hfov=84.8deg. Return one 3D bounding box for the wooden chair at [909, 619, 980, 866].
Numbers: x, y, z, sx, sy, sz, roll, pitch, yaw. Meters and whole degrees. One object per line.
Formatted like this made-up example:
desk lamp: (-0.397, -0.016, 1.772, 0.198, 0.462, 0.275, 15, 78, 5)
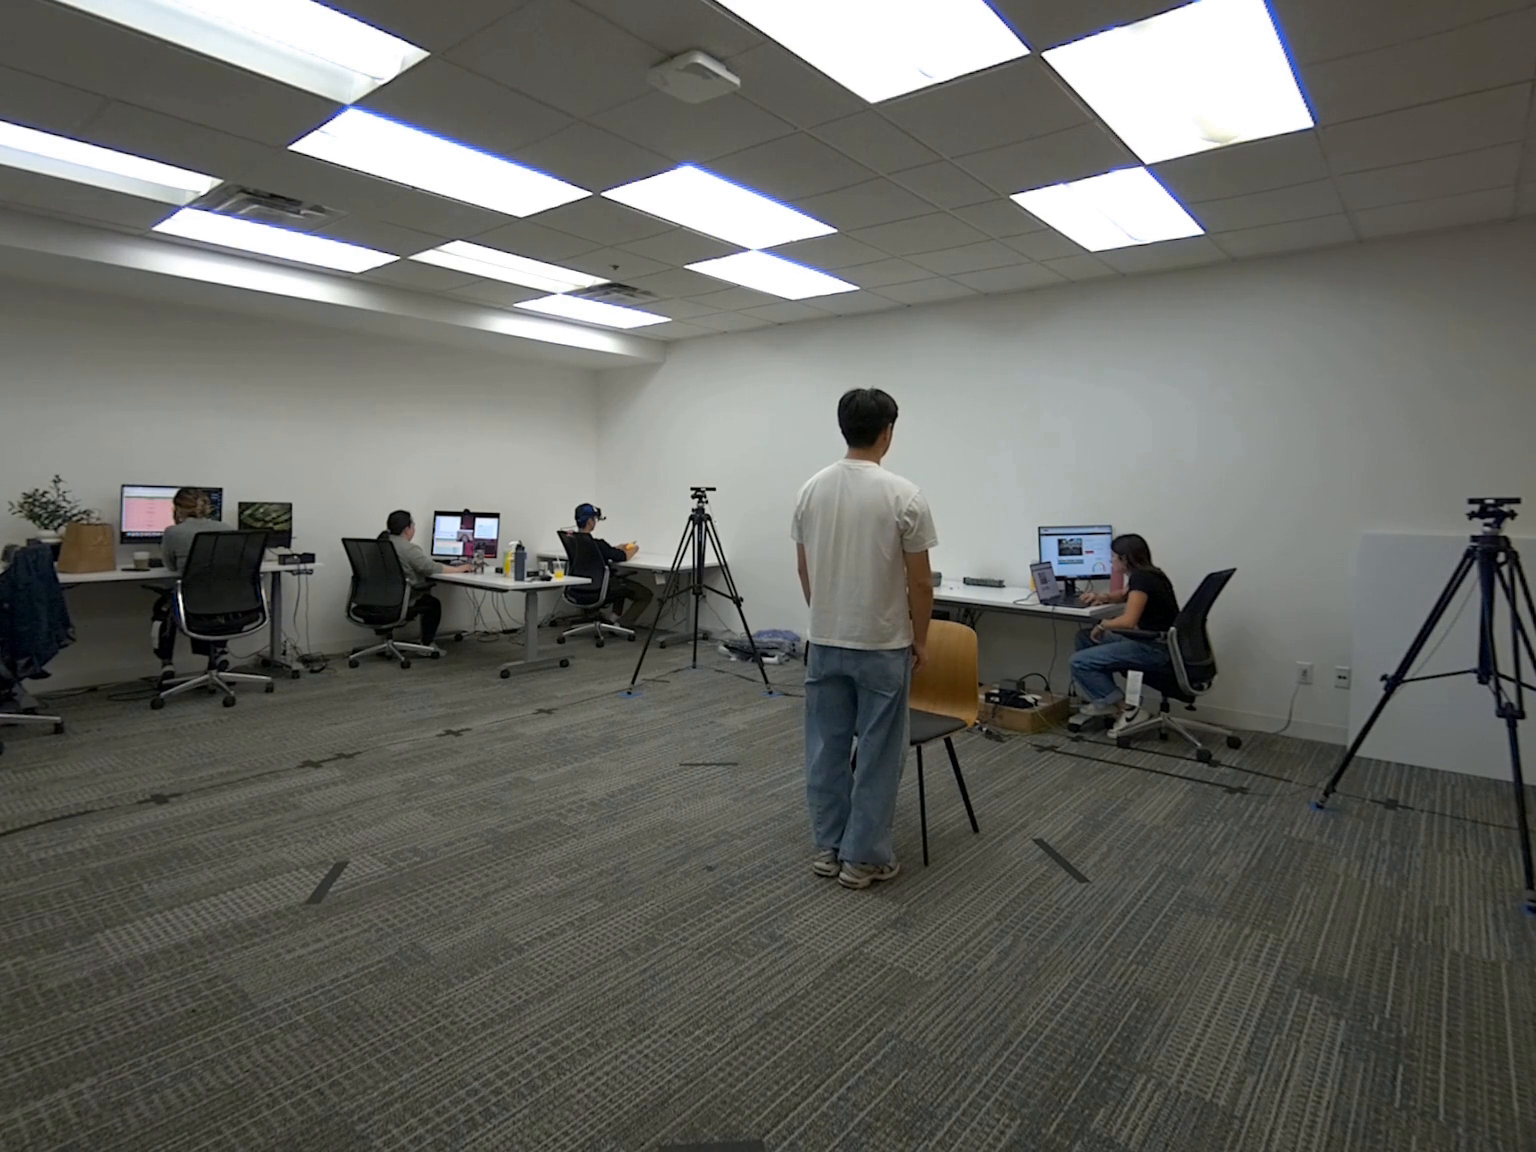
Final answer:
wooden chair: (0.557, 0.621, 3.450, 0.494, 0.877, 0.506, 5, 0, 41)
